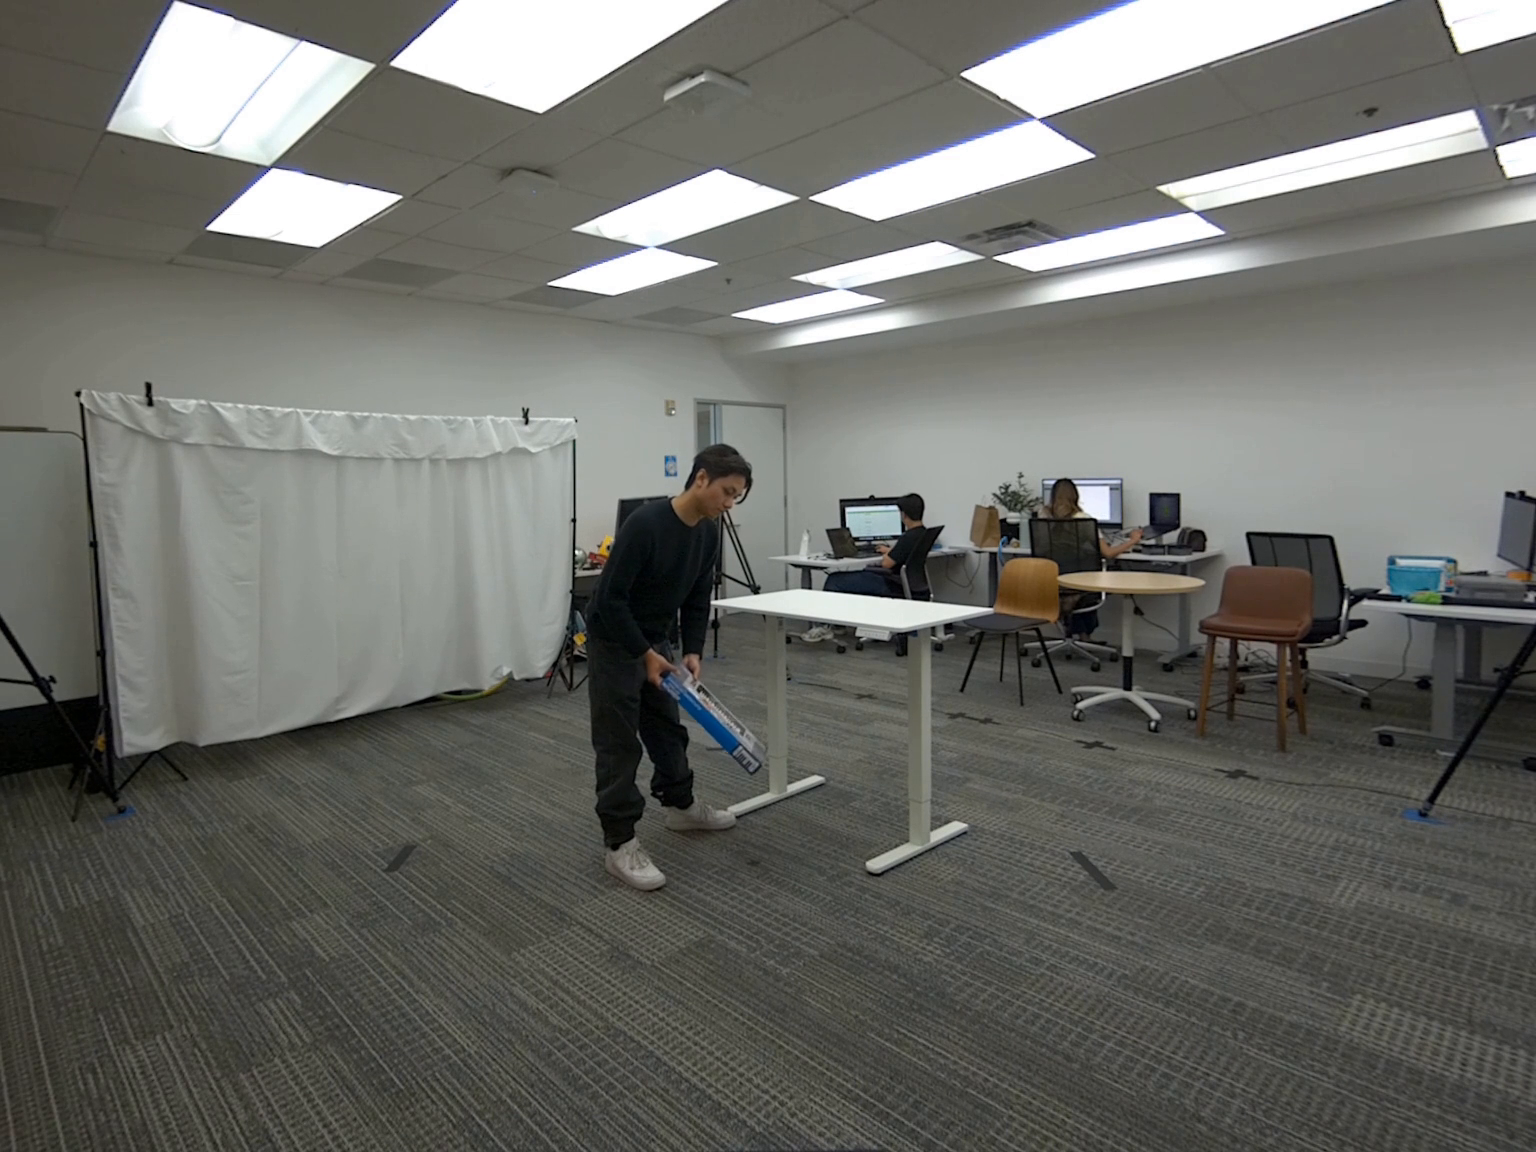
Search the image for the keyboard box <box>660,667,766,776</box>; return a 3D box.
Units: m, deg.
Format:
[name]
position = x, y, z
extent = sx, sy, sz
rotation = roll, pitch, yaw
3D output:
[keyboard box]
position = -0.185, 0.484, 2.962
extent = 0.059, 0.440, 0.175
rotation = -45, -4, 7
